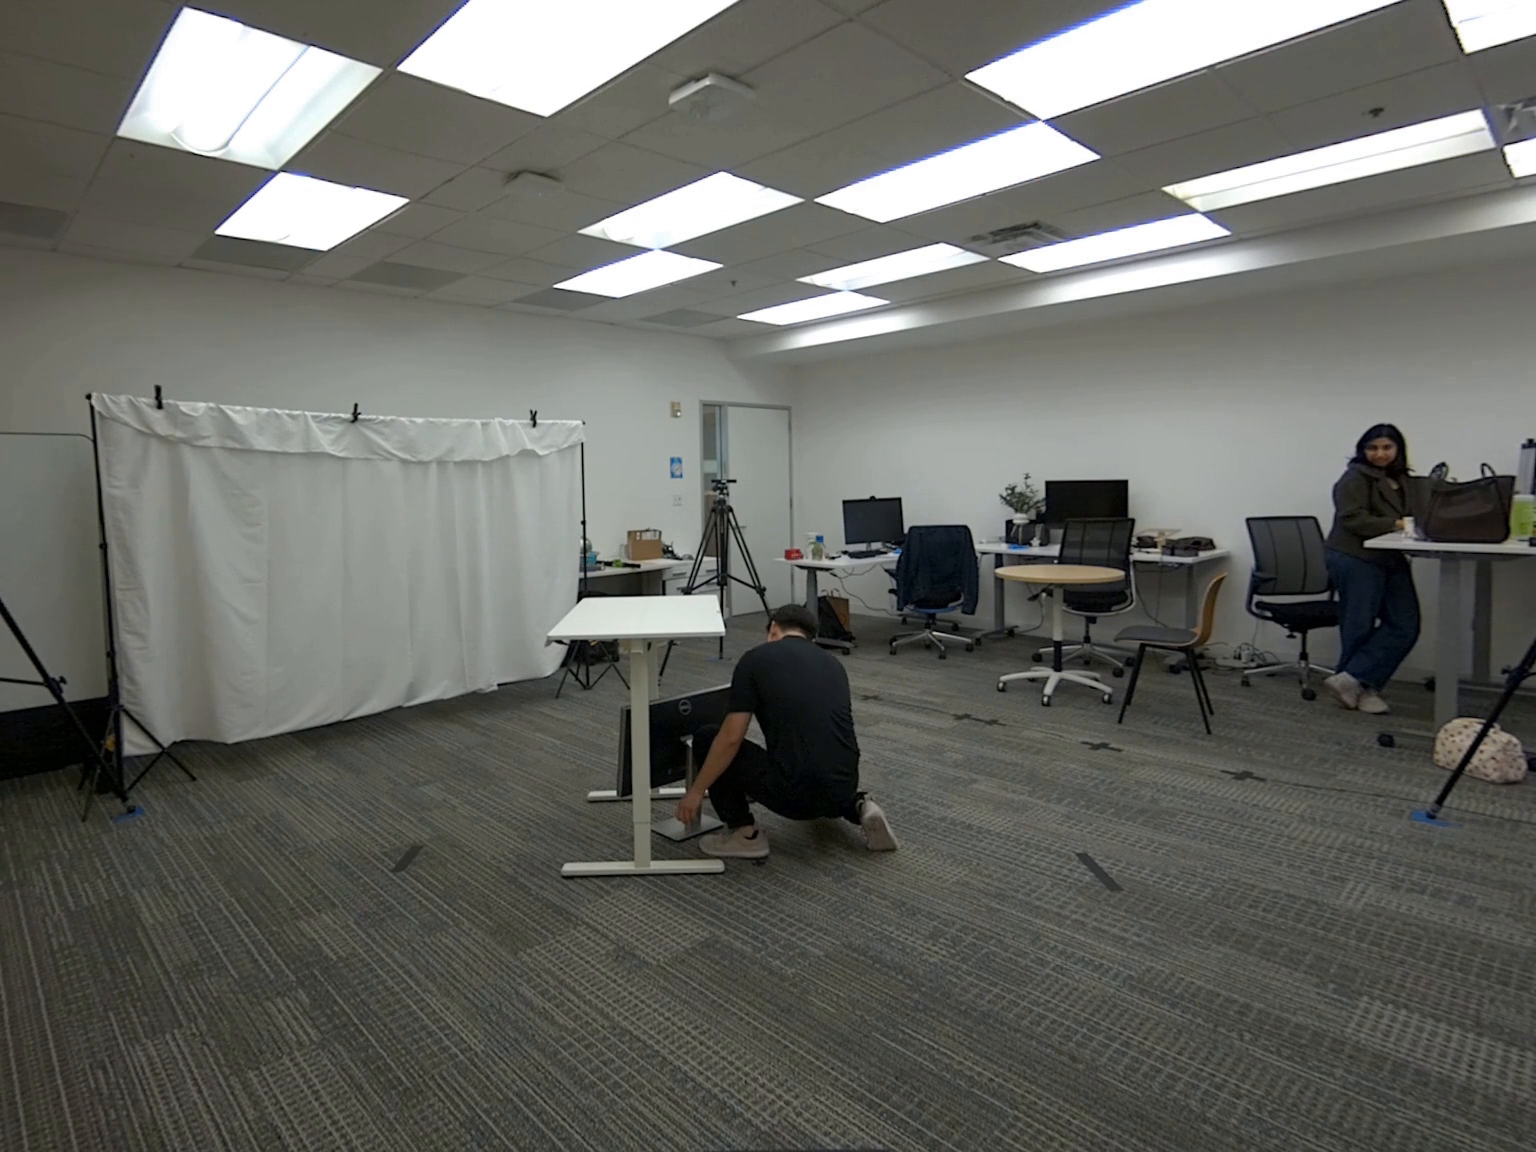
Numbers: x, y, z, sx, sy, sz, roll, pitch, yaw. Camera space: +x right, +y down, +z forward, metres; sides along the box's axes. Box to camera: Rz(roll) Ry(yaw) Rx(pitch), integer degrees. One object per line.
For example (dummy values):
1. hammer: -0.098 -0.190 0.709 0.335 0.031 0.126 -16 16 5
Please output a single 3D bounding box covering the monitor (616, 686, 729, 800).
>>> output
1. monitor: -0.332 0.747 3.435 0.524 0.522 0.192 -4 1 -42
